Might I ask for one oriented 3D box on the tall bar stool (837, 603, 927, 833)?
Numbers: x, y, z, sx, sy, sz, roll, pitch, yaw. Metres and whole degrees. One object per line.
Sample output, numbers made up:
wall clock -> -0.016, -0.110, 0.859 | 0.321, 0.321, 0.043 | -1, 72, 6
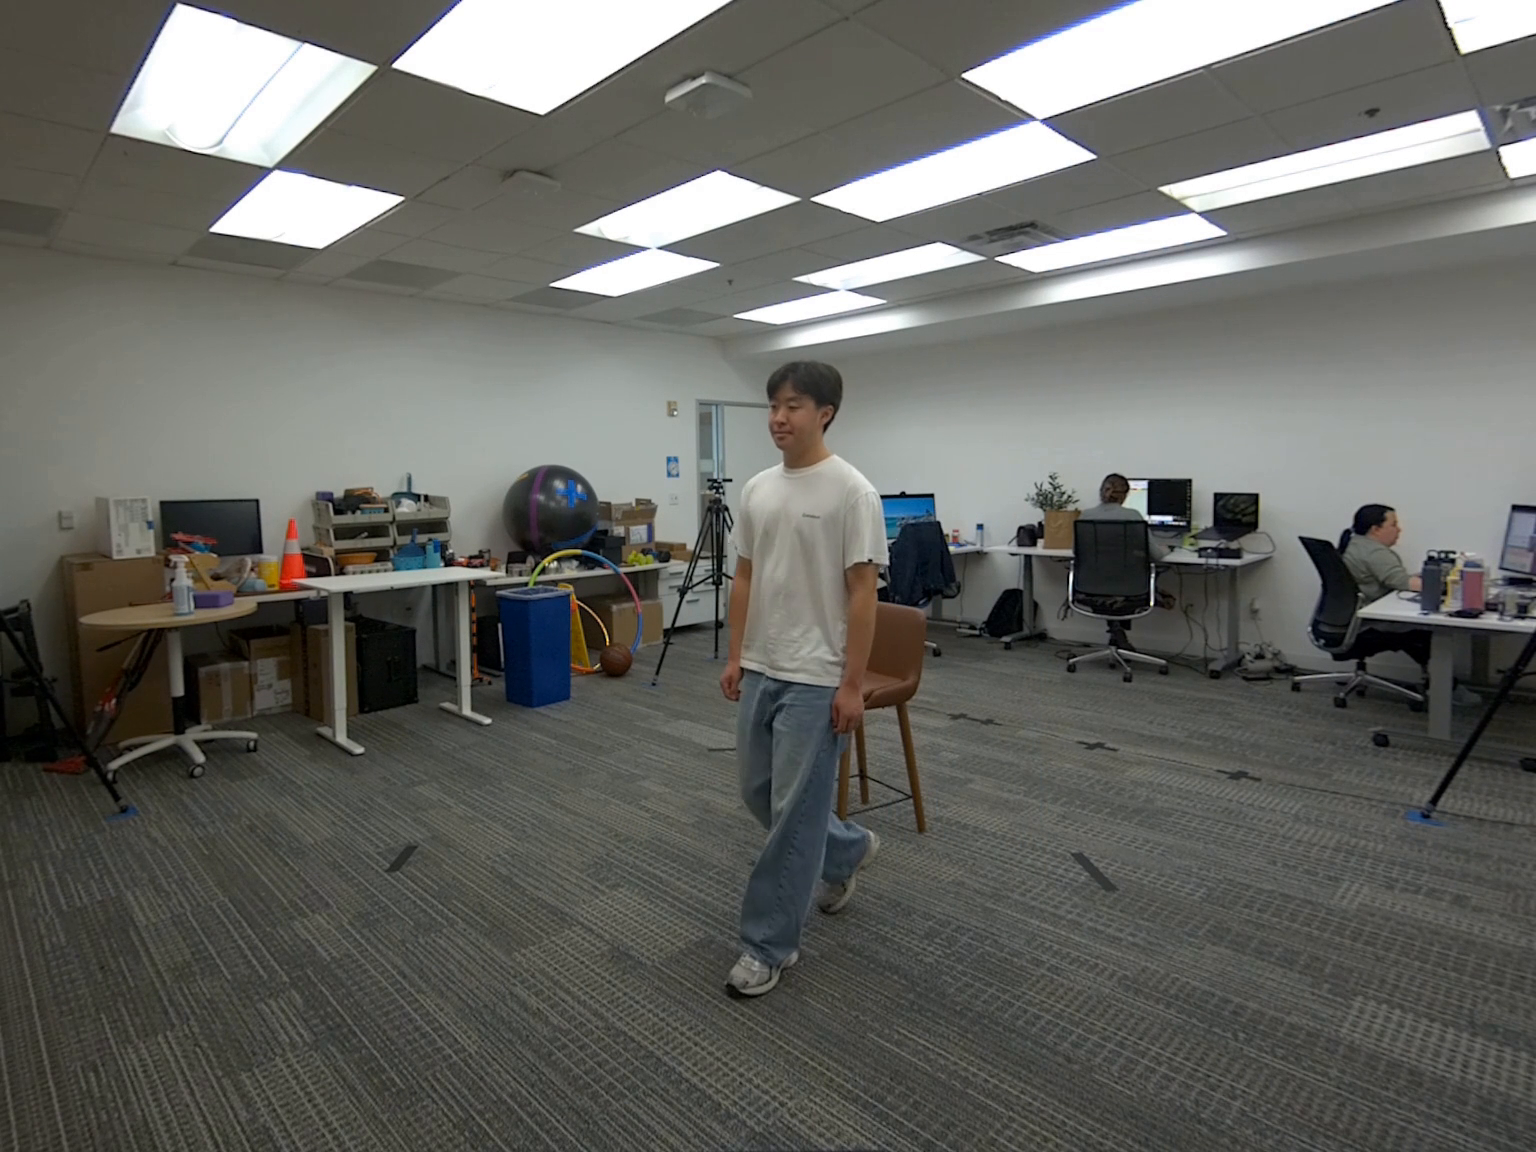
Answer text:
tall bar stool -> 0.336, 0.568, 3.389 | 0.456, 0.888, 0.469 | -1, 3, -32
